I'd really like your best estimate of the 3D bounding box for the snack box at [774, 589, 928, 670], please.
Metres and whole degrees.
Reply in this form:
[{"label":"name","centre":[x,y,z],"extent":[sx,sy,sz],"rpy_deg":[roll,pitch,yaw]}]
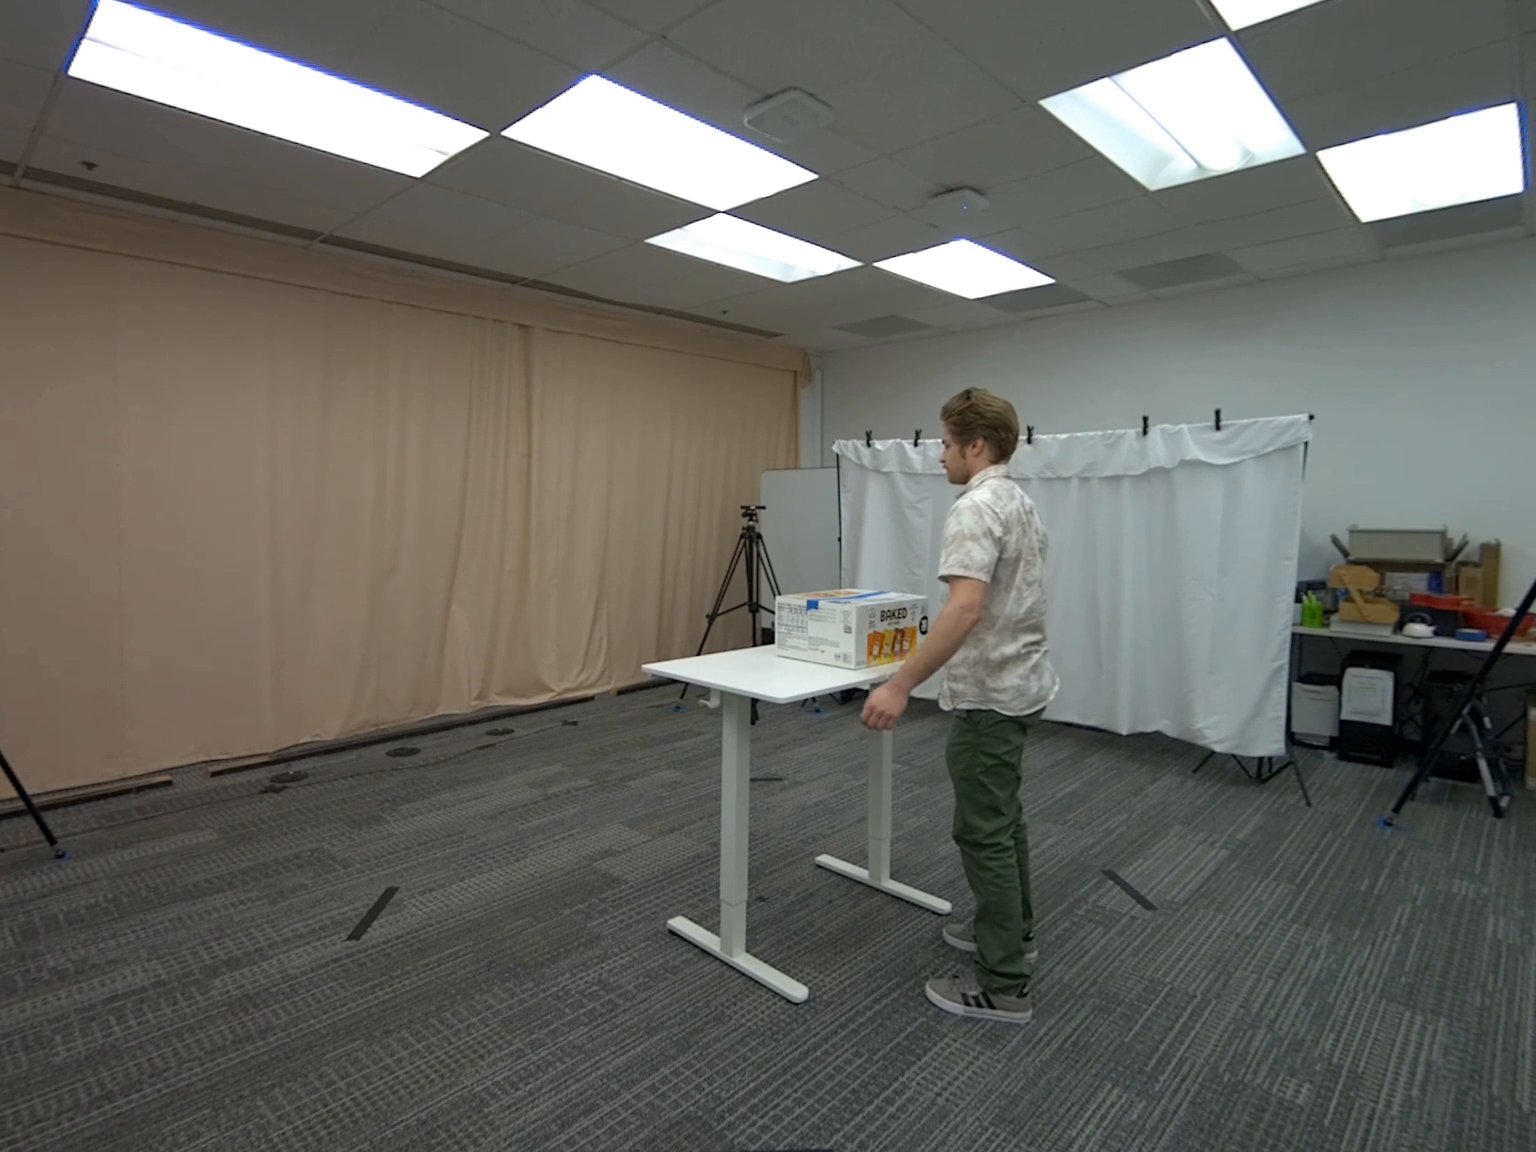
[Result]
[{"label":"snack box","centre":[0.289,0.170,2.847],"extent":[0.352,0.205,0.393],"rpy_deg":[4,6,45]}]
